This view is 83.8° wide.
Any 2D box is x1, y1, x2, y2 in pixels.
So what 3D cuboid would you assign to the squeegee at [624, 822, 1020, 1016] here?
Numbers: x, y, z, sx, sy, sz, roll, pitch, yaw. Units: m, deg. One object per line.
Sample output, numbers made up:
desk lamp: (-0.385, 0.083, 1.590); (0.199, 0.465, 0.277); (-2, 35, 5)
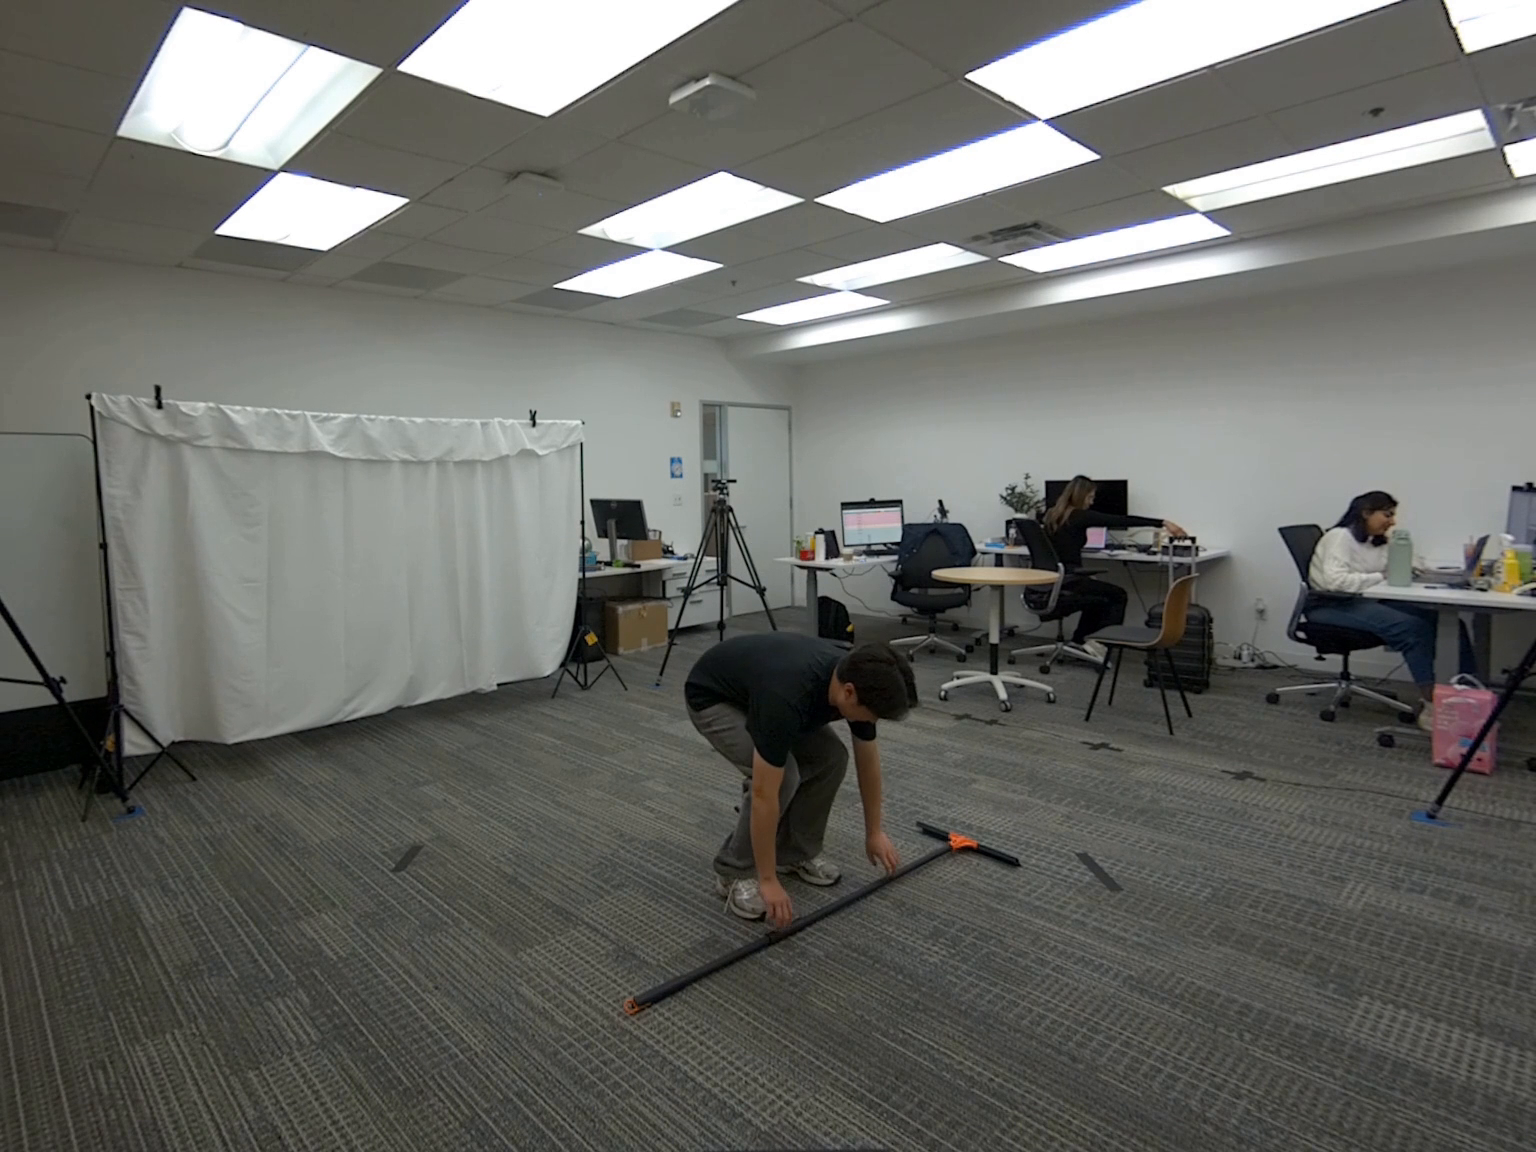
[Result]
squeegee: (0.199, 1.050, 2.729); (1.499, 0.053, 0.451); (-8, 9, -40)
